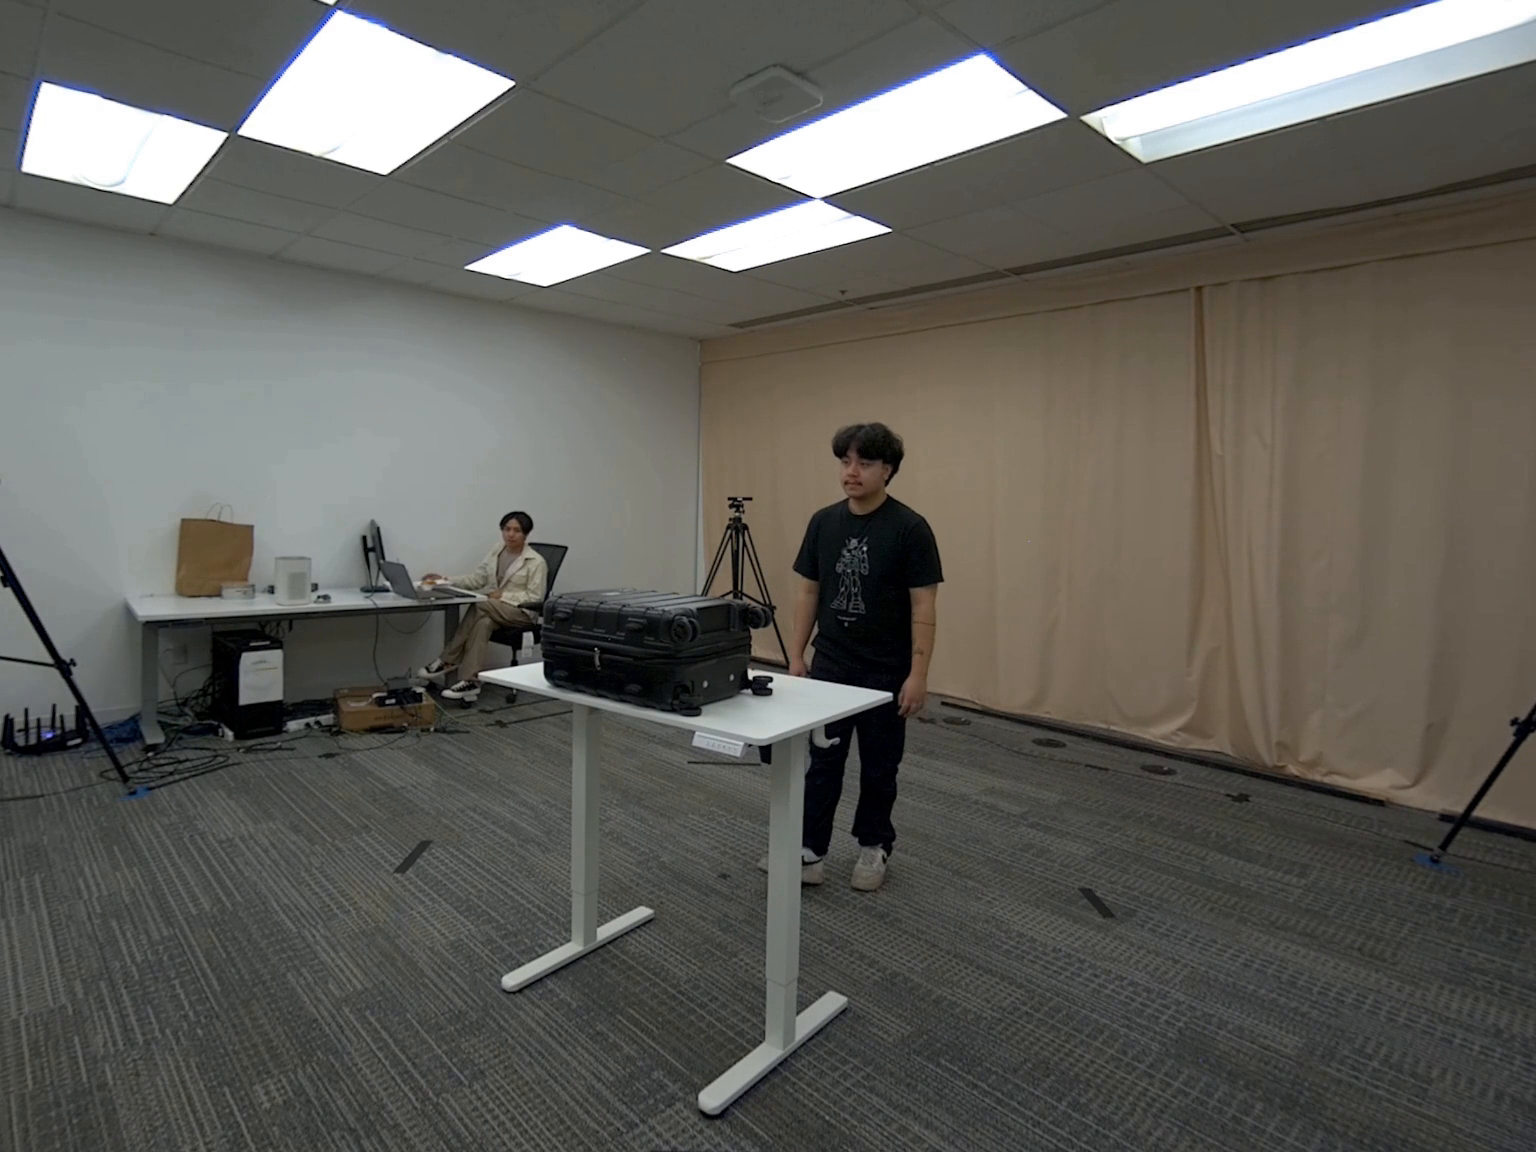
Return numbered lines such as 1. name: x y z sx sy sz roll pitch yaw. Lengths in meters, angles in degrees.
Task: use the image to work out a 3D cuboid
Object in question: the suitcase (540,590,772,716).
1. suitcase: -0.315 0.186 2.210 0.563 0.247 0.367 5 7 36
